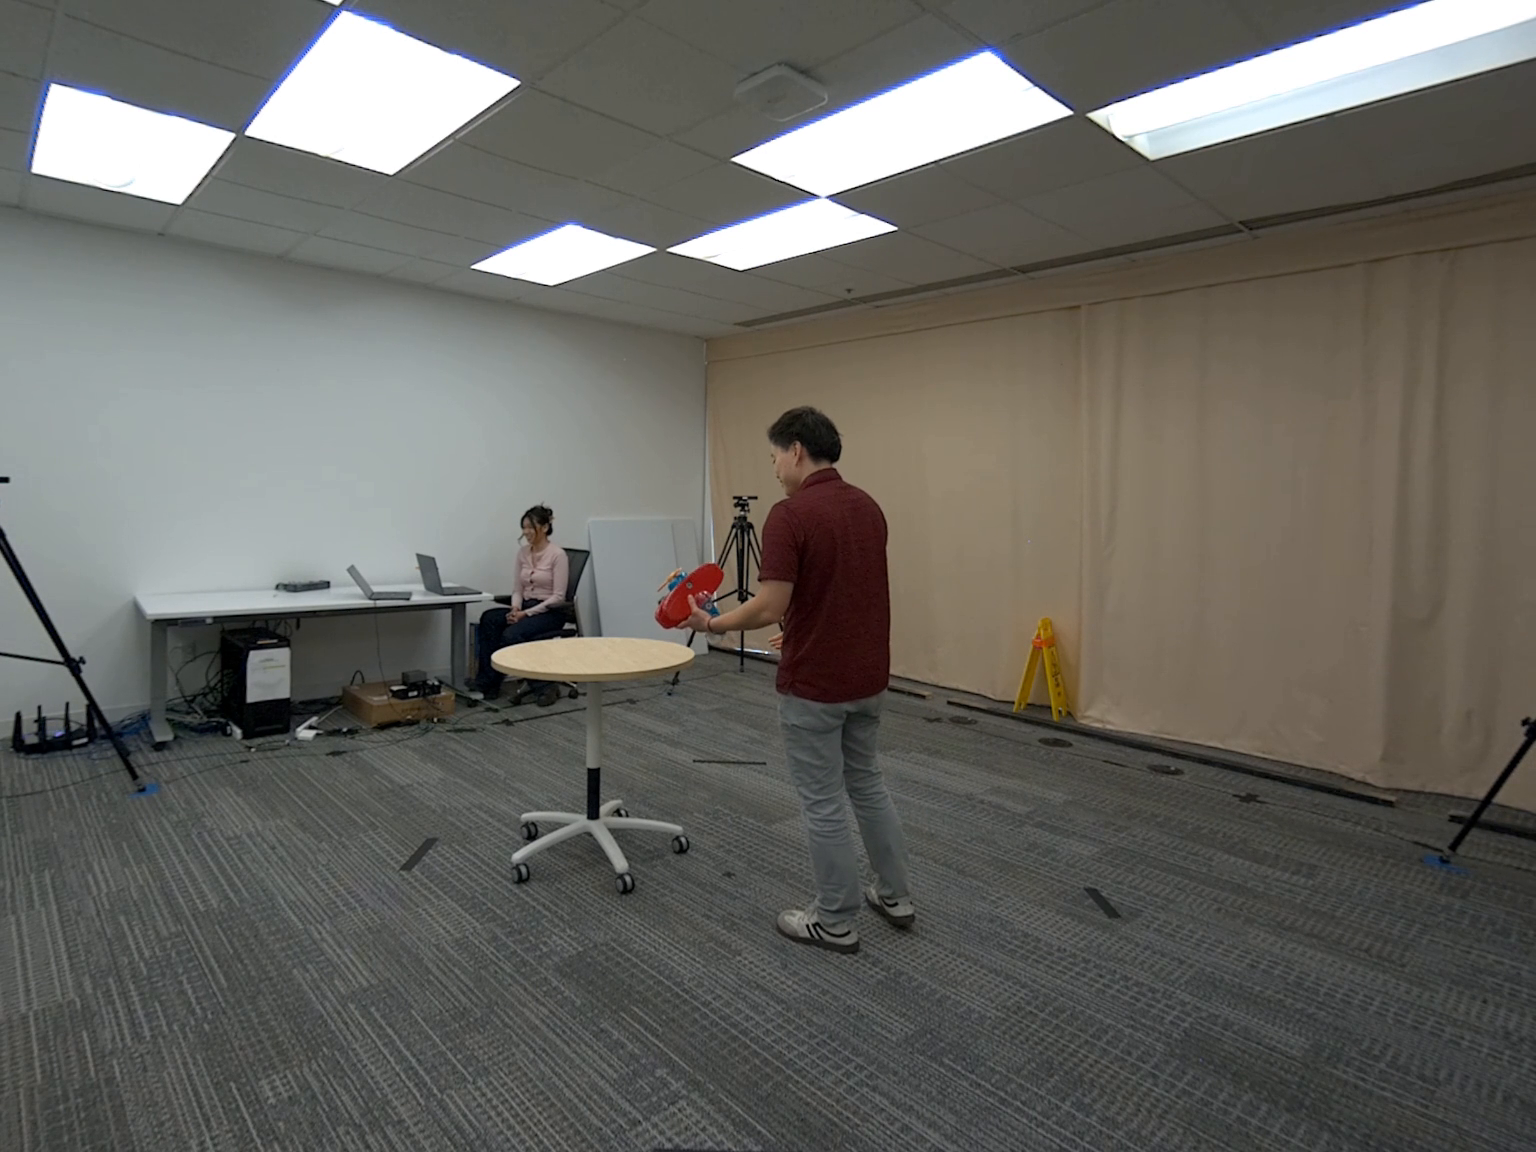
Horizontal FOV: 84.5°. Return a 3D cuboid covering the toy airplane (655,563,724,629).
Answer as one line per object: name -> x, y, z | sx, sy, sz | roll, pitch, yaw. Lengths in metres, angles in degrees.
toy airplane -> -0.215, 0.084, 2.713 | 0.258, 0.255, 0.155 | 16, -34, -4
